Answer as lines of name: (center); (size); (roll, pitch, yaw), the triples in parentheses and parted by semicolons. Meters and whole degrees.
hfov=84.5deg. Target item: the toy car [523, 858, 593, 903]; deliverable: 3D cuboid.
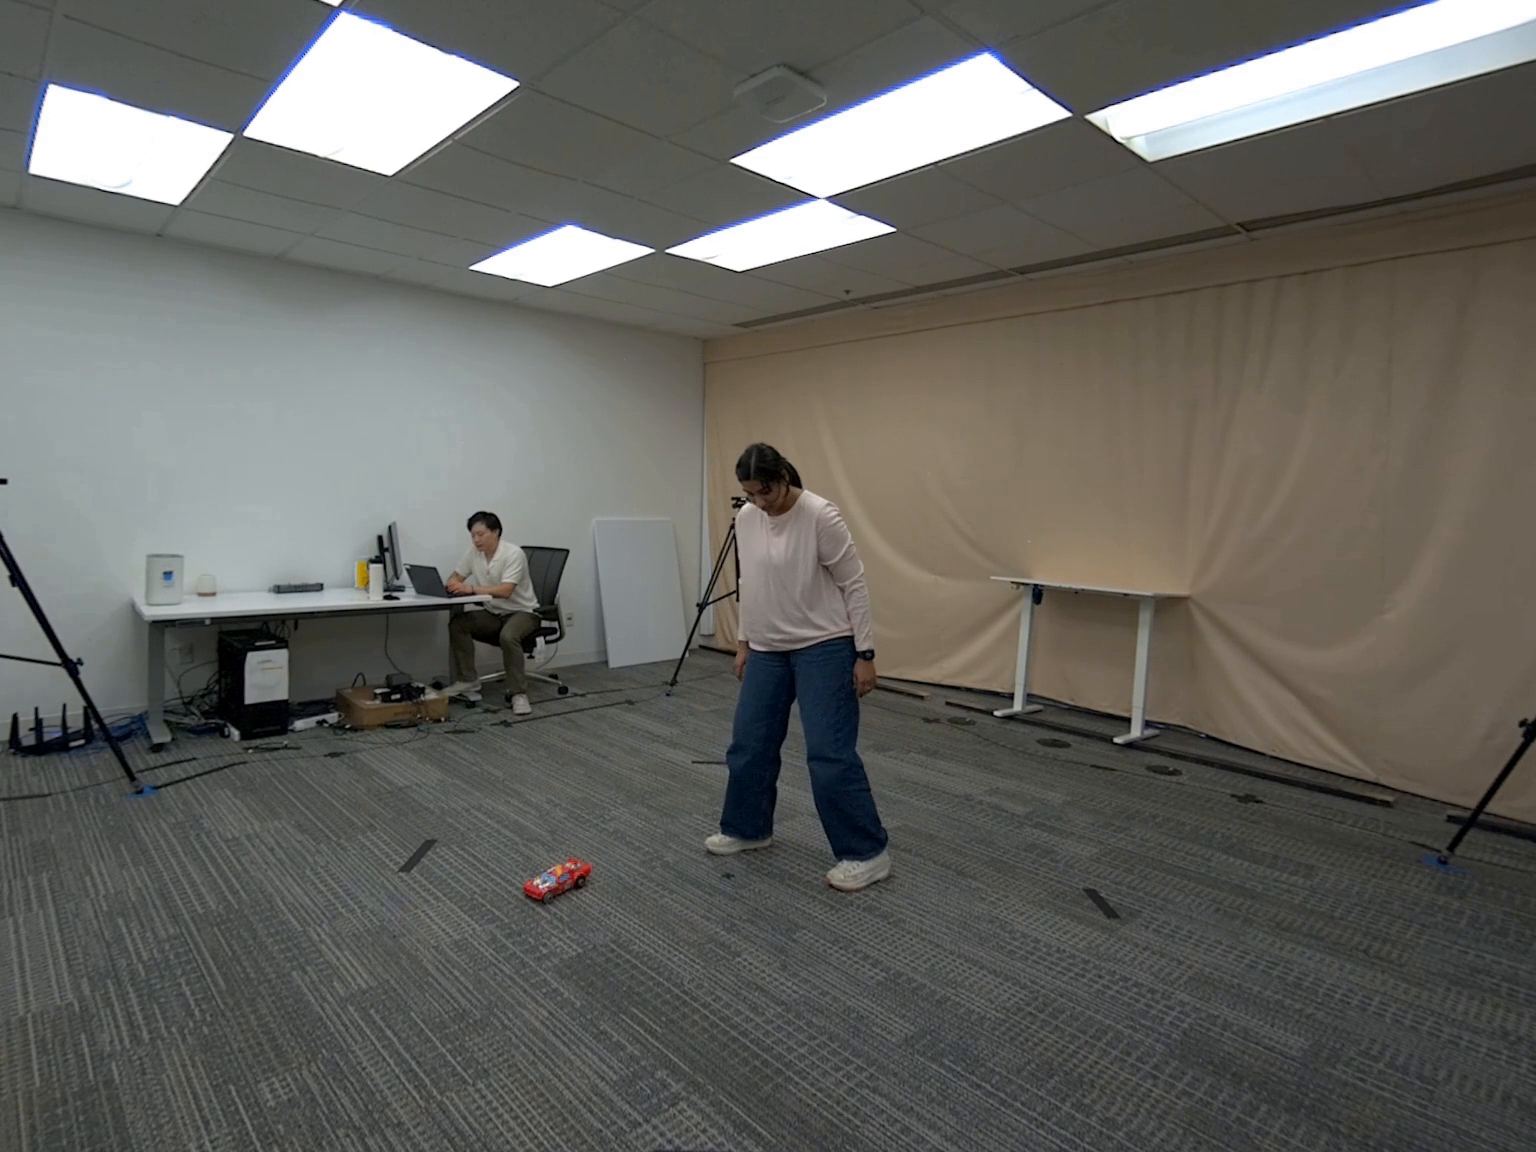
toy car: (-0.746, 1.077, 2.965); (0.133, 0.082, 0.251); (4, 17, 37)
